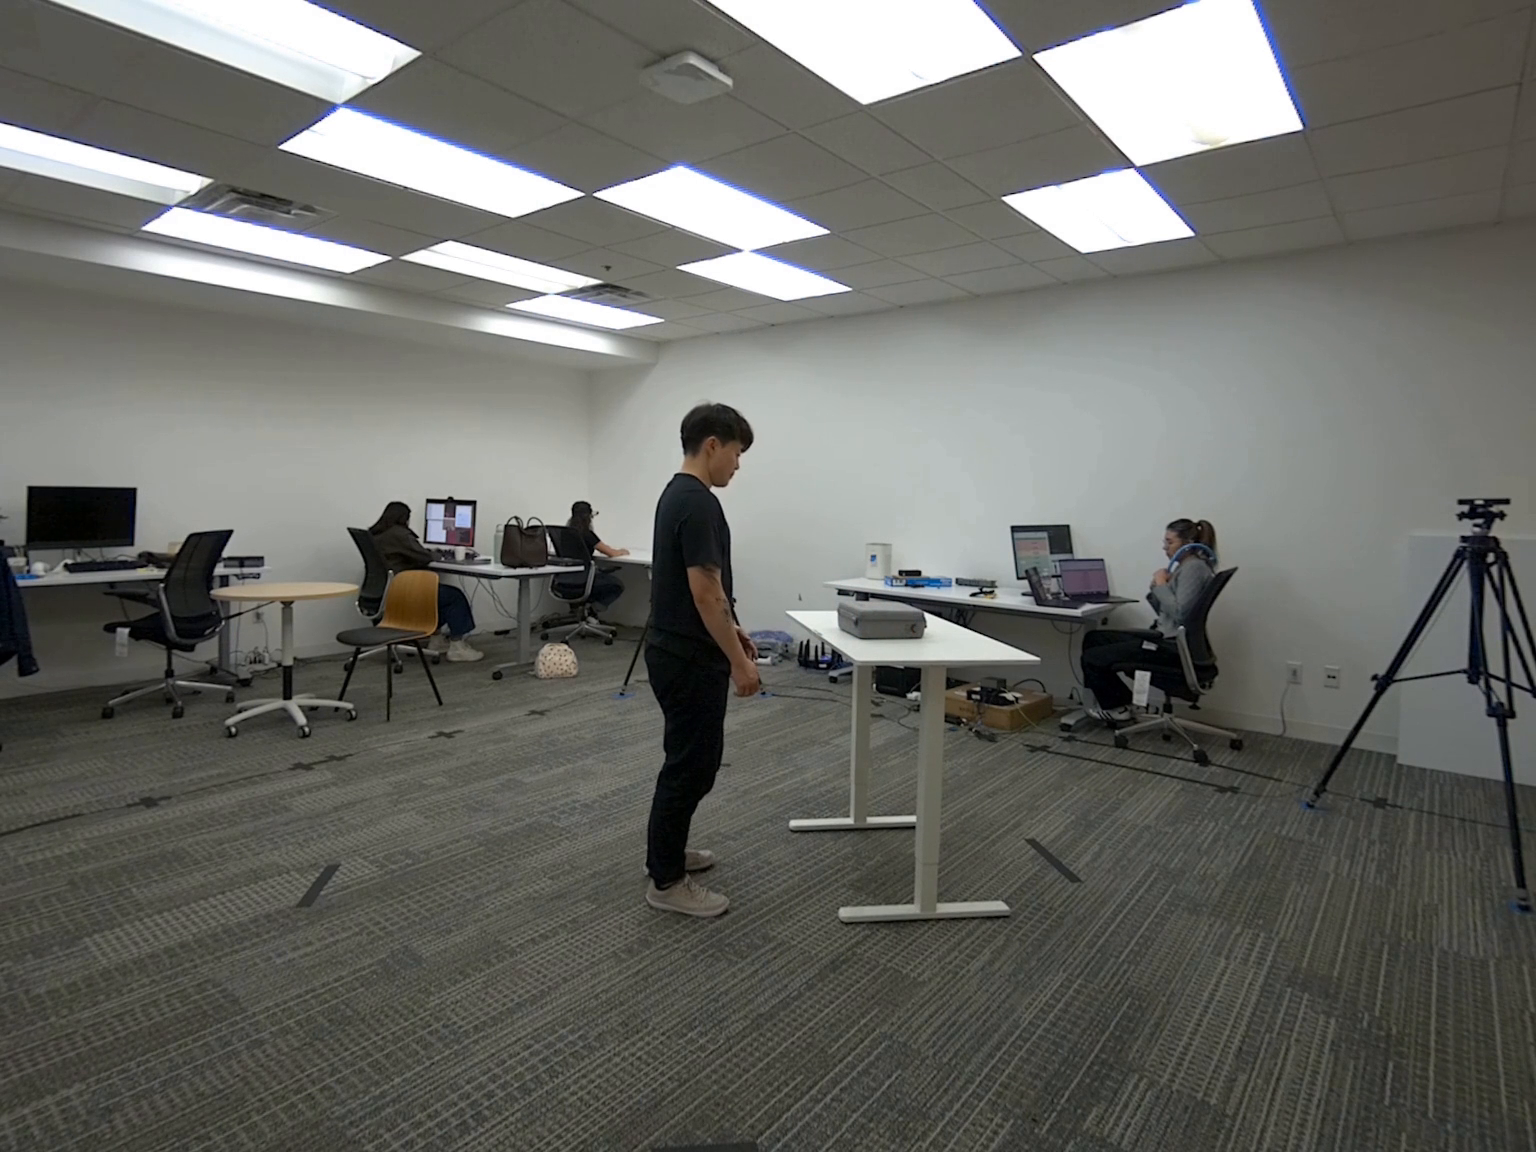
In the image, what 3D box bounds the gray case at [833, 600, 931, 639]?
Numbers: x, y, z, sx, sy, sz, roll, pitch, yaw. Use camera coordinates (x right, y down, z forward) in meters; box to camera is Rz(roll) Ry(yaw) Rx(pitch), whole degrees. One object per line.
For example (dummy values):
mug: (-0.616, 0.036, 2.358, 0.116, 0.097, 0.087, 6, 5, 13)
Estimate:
gray case: (0.408, 0.155, 3.058, 0.257, 0.104, 0.261, 1, 4, -14)
